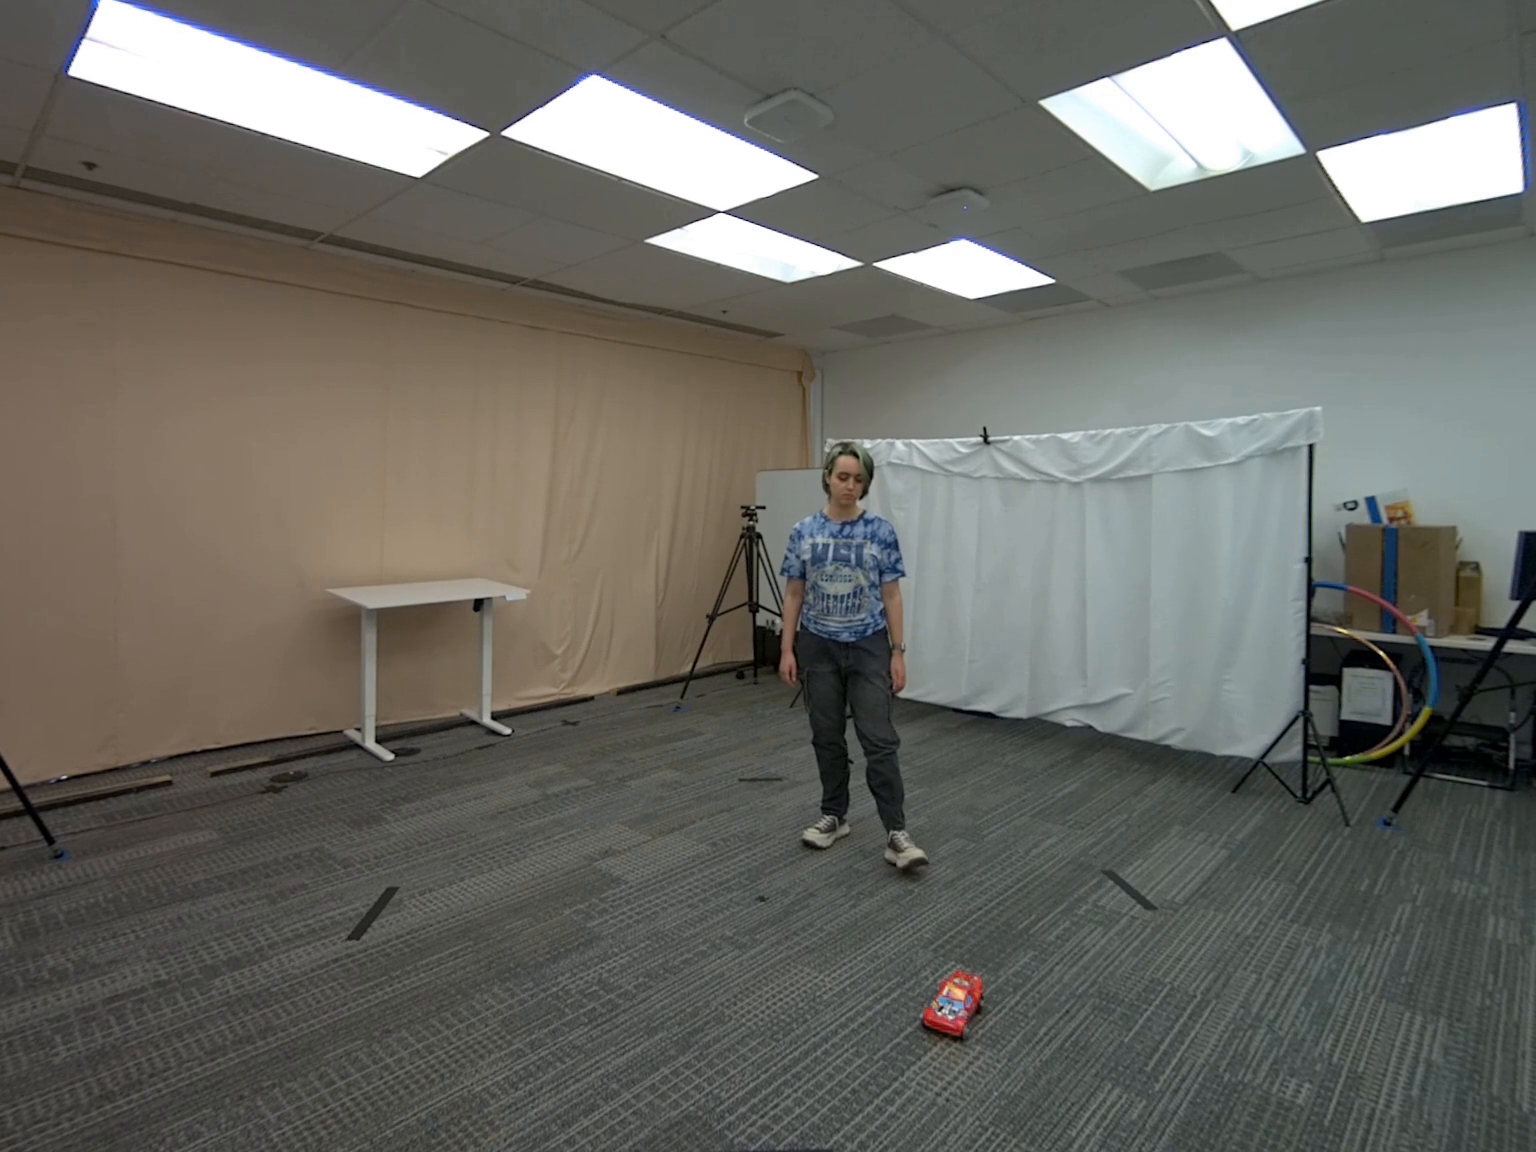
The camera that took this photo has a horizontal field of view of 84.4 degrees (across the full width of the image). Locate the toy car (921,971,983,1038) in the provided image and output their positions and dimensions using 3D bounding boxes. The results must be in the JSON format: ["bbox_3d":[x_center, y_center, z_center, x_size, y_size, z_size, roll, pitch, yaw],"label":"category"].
[{"bbox_3d":[0.509,1.164,2.303,0.134,0.082,0.250,3,17,31],"label":"toy car"}]
